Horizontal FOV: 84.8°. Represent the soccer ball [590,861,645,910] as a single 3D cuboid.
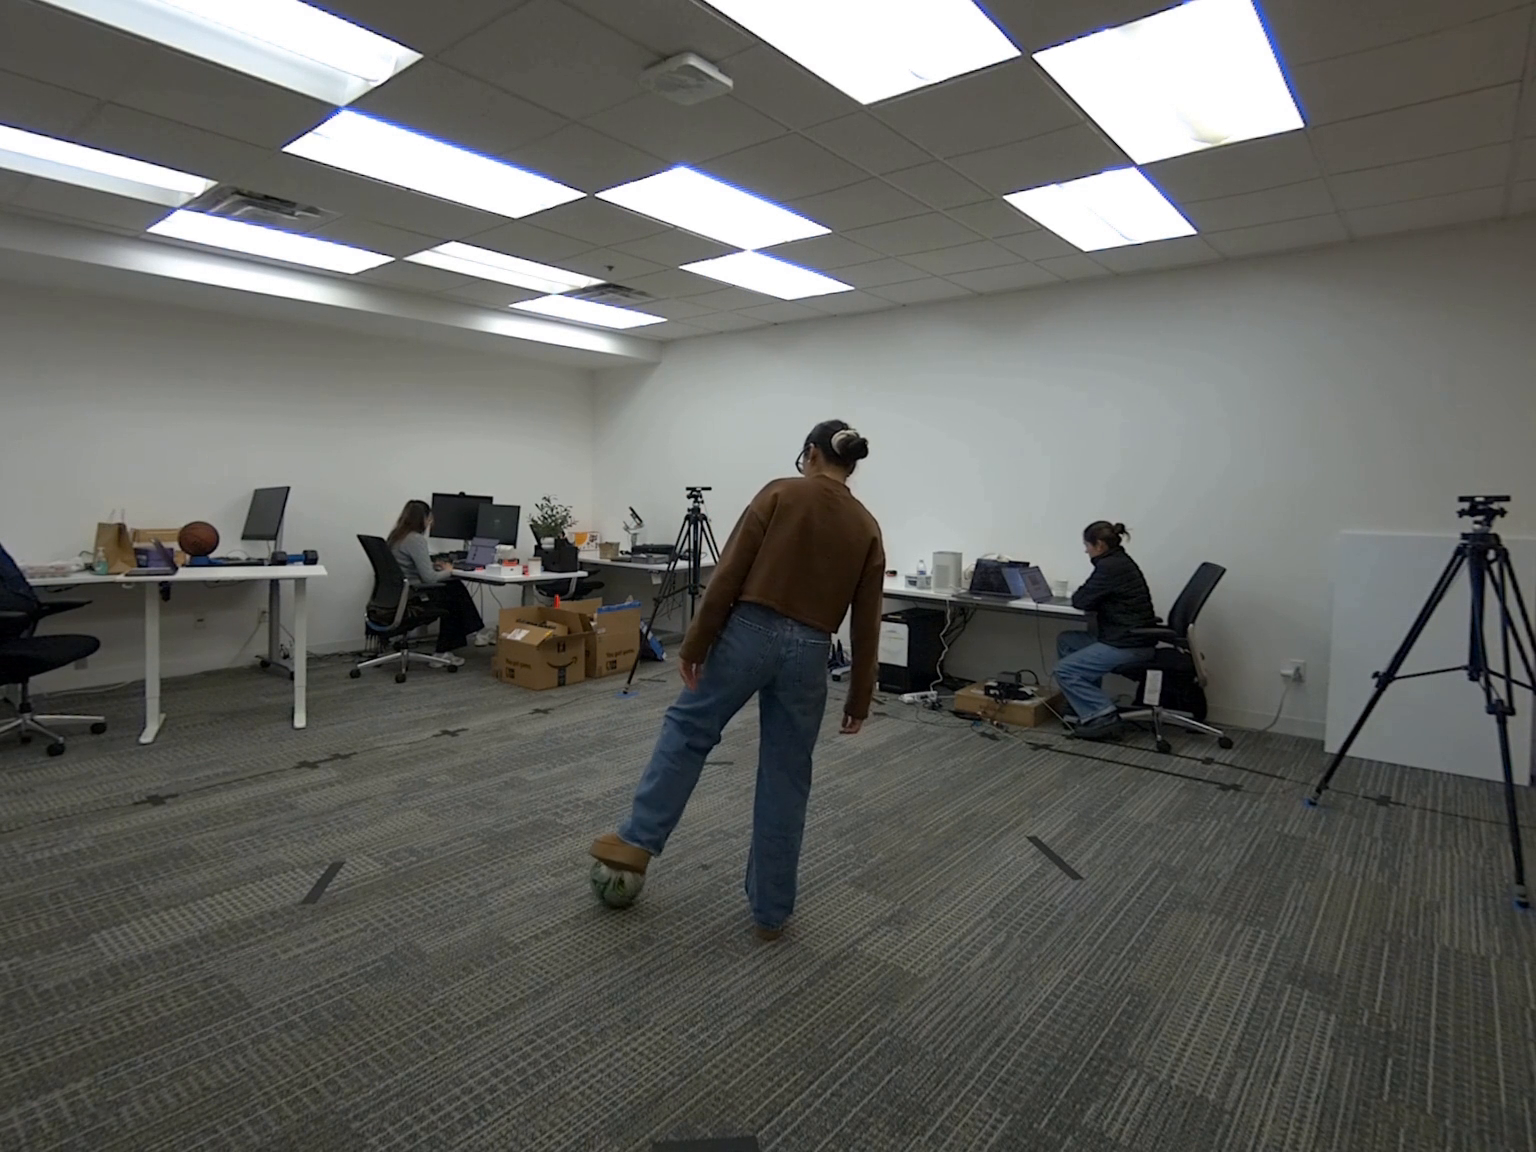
[{"bbox_3d":[-0.502,0.996,2.837,0.187,0.187,0.188,1,4,-2],"label":"soccer ball"}]
